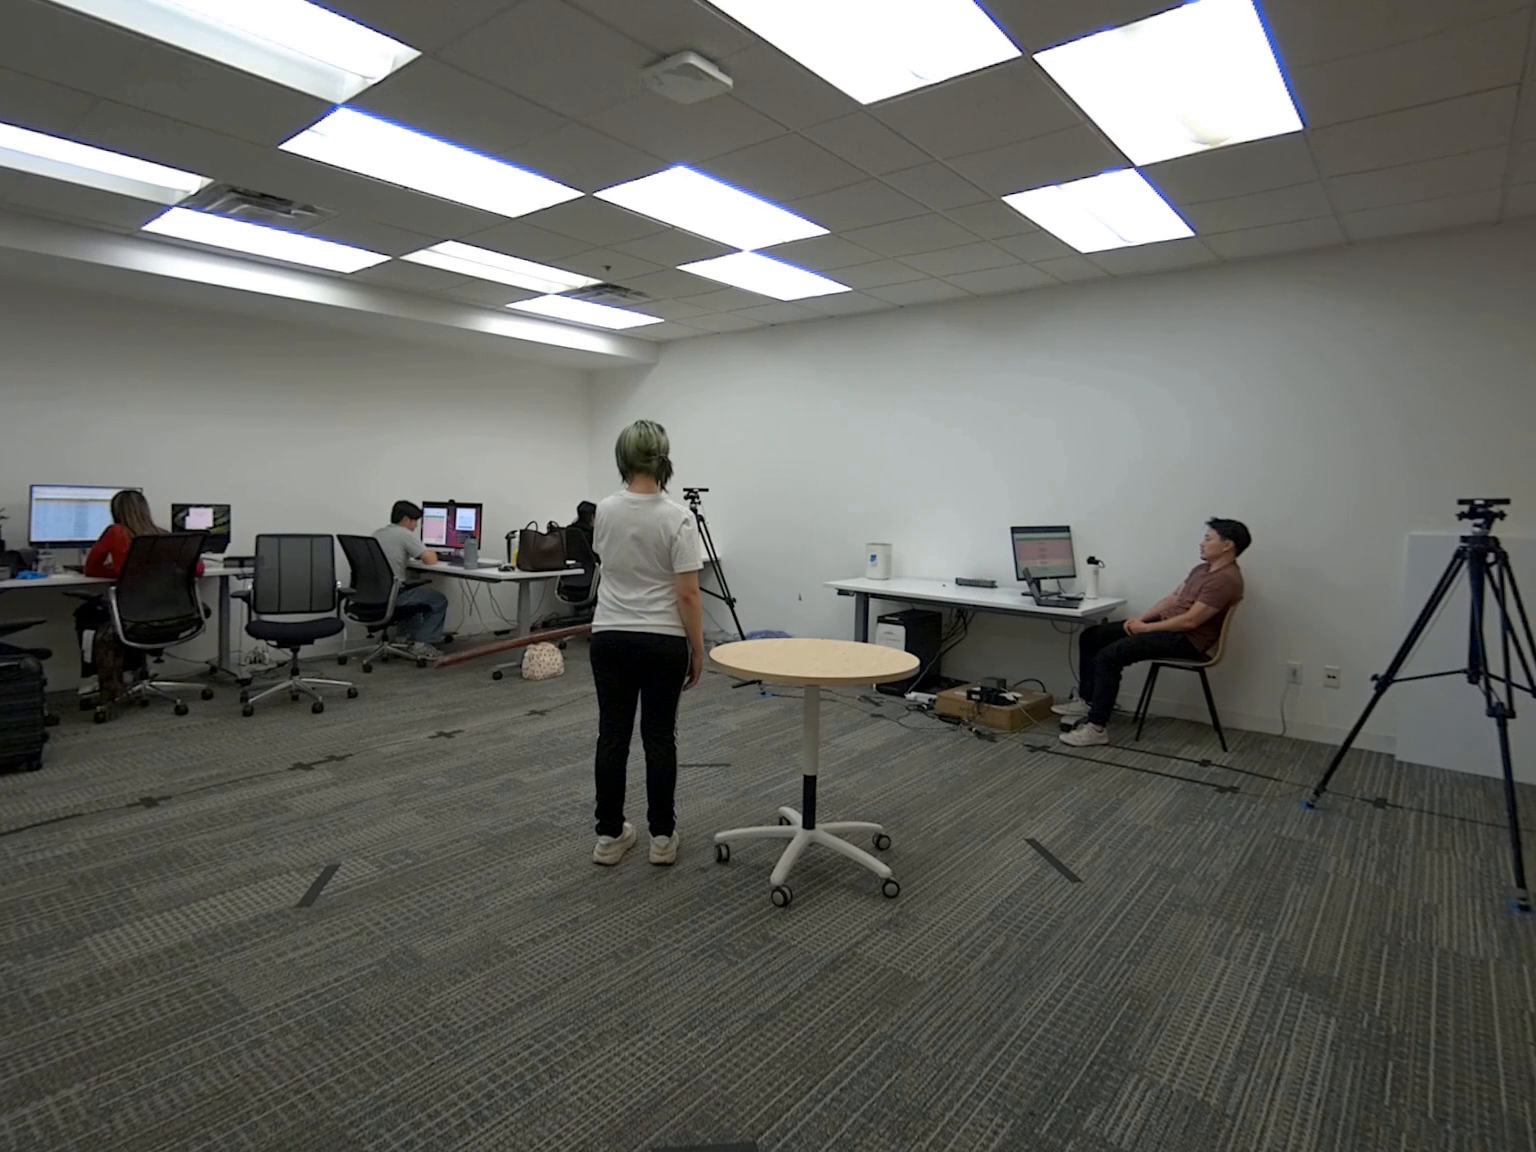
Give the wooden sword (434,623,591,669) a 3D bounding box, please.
[{"bbox_3d":[-0.851,0.242,3.278,0.997,0.050,0.025,-10,22,-43],"label":"wooden sword"}]
